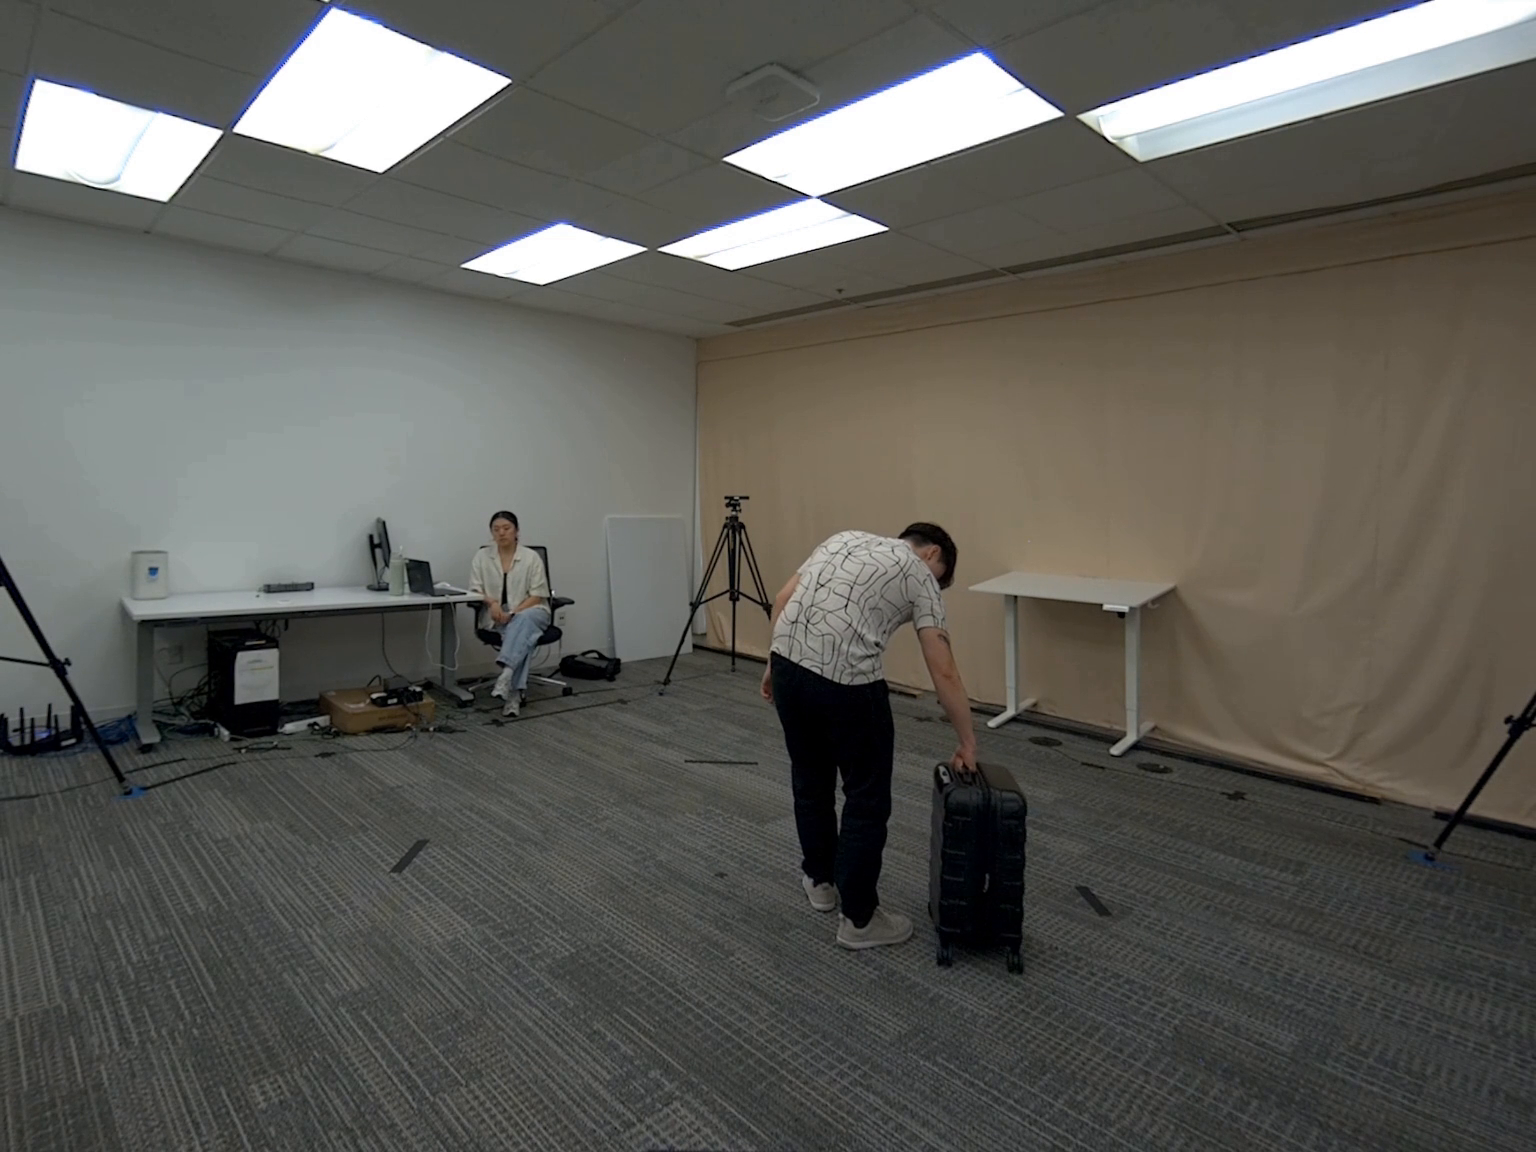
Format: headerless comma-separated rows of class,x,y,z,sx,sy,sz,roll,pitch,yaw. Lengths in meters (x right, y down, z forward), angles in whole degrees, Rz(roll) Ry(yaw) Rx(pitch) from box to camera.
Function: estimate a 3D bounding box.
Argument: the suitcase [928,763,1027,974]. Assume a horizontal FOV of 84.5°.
suitcase,0.651,0.886,2.677,0.250,0.548,0.374,2,3,6
